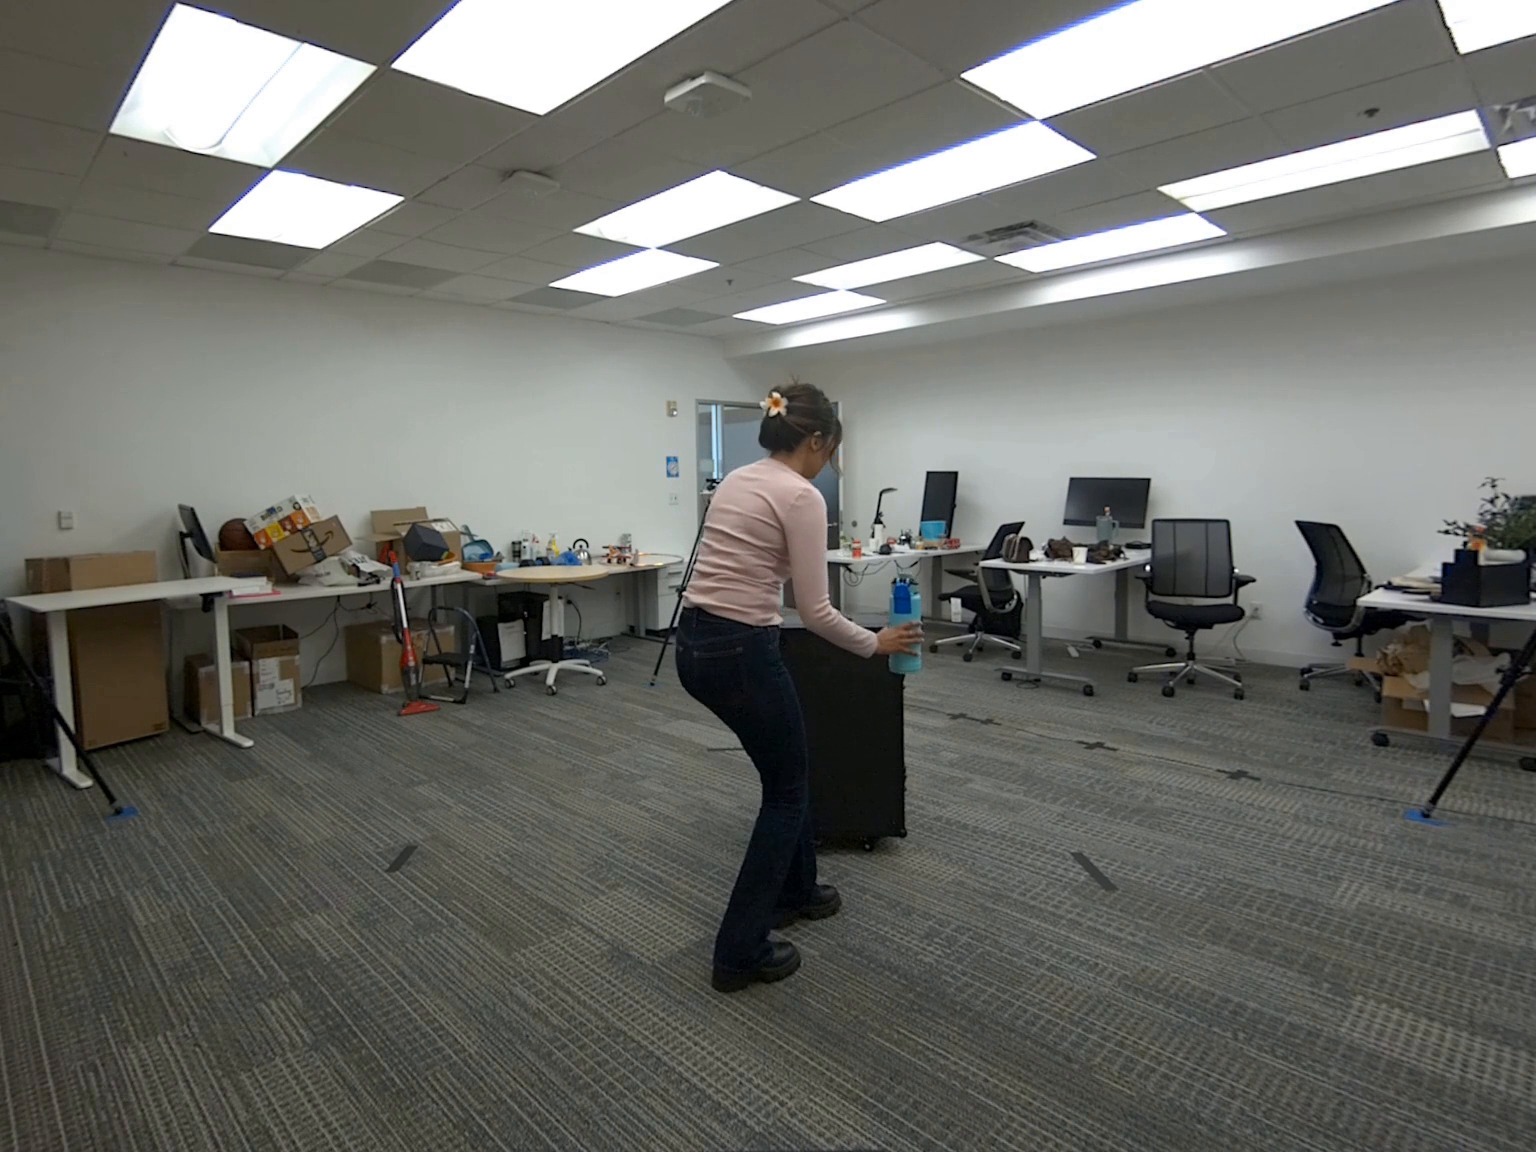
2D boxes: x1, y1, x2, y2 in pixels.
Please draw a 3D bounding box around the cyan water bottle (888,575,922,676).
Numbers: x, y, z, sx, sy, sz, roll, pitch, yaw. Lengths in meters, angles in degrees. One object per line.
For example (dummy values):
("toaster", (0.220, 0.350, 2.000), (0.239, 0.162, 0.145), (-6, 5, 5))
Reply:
("cyan water bottle", (0.396, 0.139, 2.459), (0.092, 0.281, 0.093), (-1, 8, -1))
